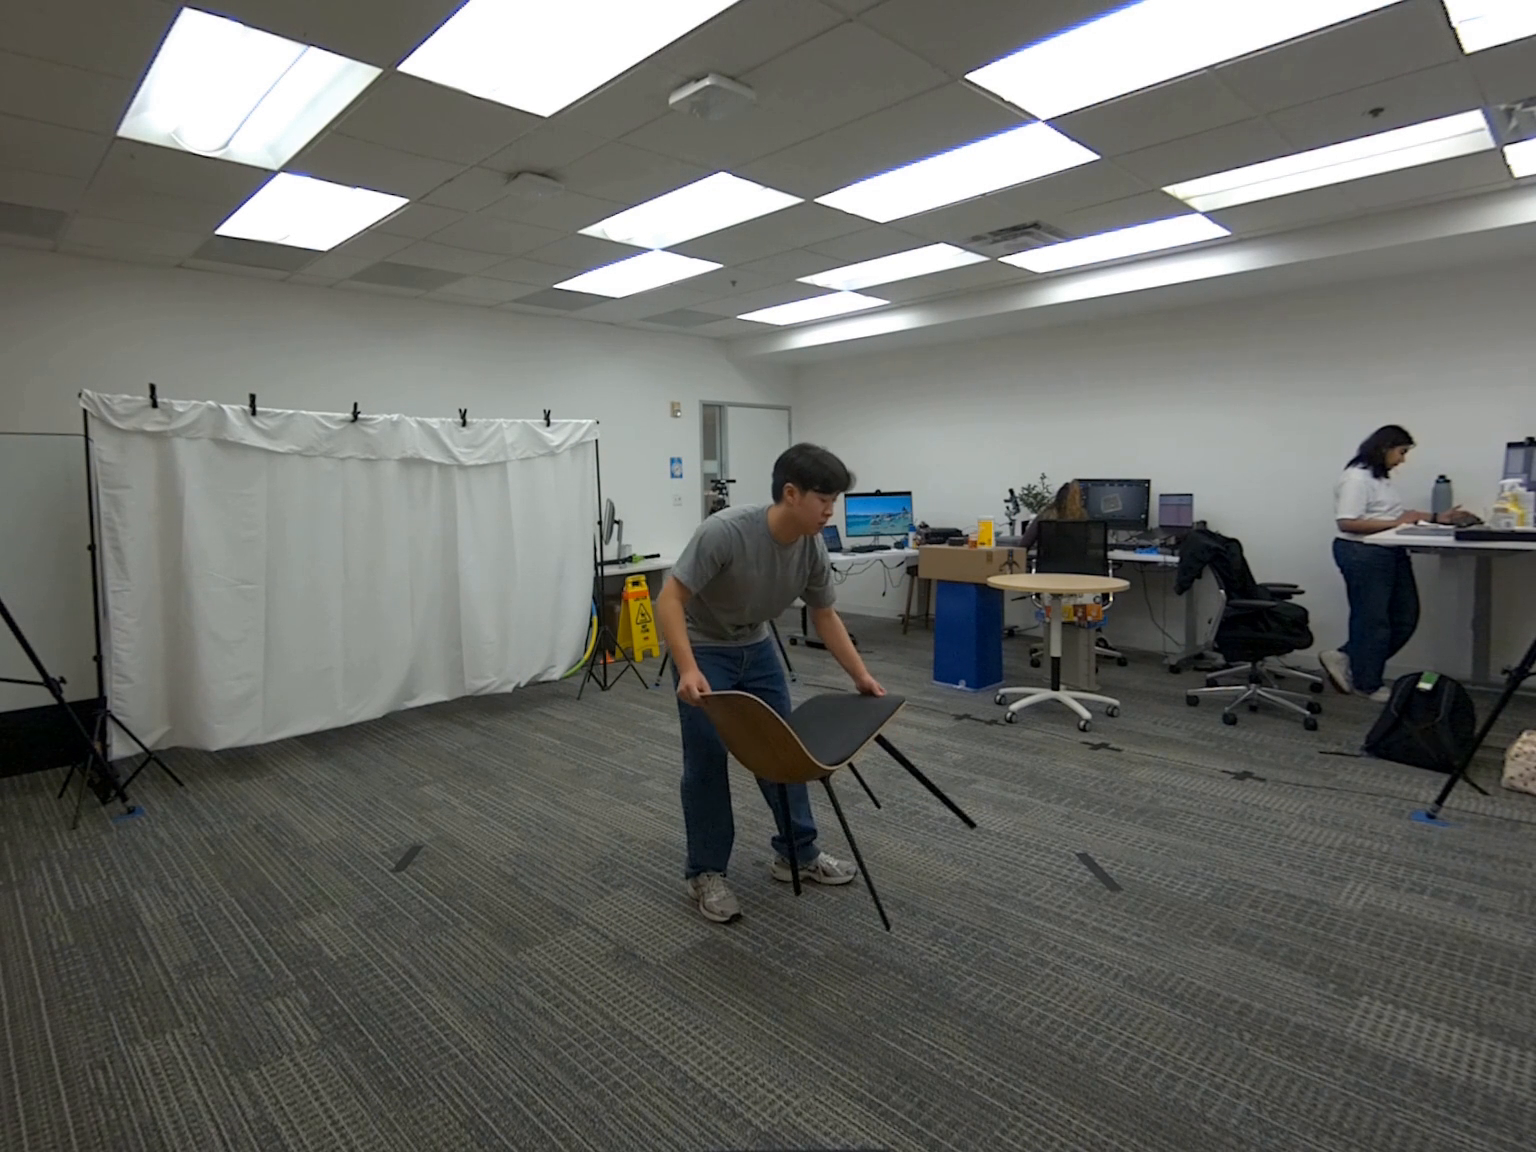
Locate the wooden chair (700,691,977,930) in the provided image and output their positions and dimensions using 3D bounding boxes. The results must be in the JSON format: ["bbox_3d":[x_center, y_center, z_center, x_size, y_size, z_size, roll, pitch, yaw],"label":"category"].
[{"bbox_3d":[0.183,0.552,2.663,0.521,0.864,0.487,-40,14,-29],"label":"wooden chair"}]
